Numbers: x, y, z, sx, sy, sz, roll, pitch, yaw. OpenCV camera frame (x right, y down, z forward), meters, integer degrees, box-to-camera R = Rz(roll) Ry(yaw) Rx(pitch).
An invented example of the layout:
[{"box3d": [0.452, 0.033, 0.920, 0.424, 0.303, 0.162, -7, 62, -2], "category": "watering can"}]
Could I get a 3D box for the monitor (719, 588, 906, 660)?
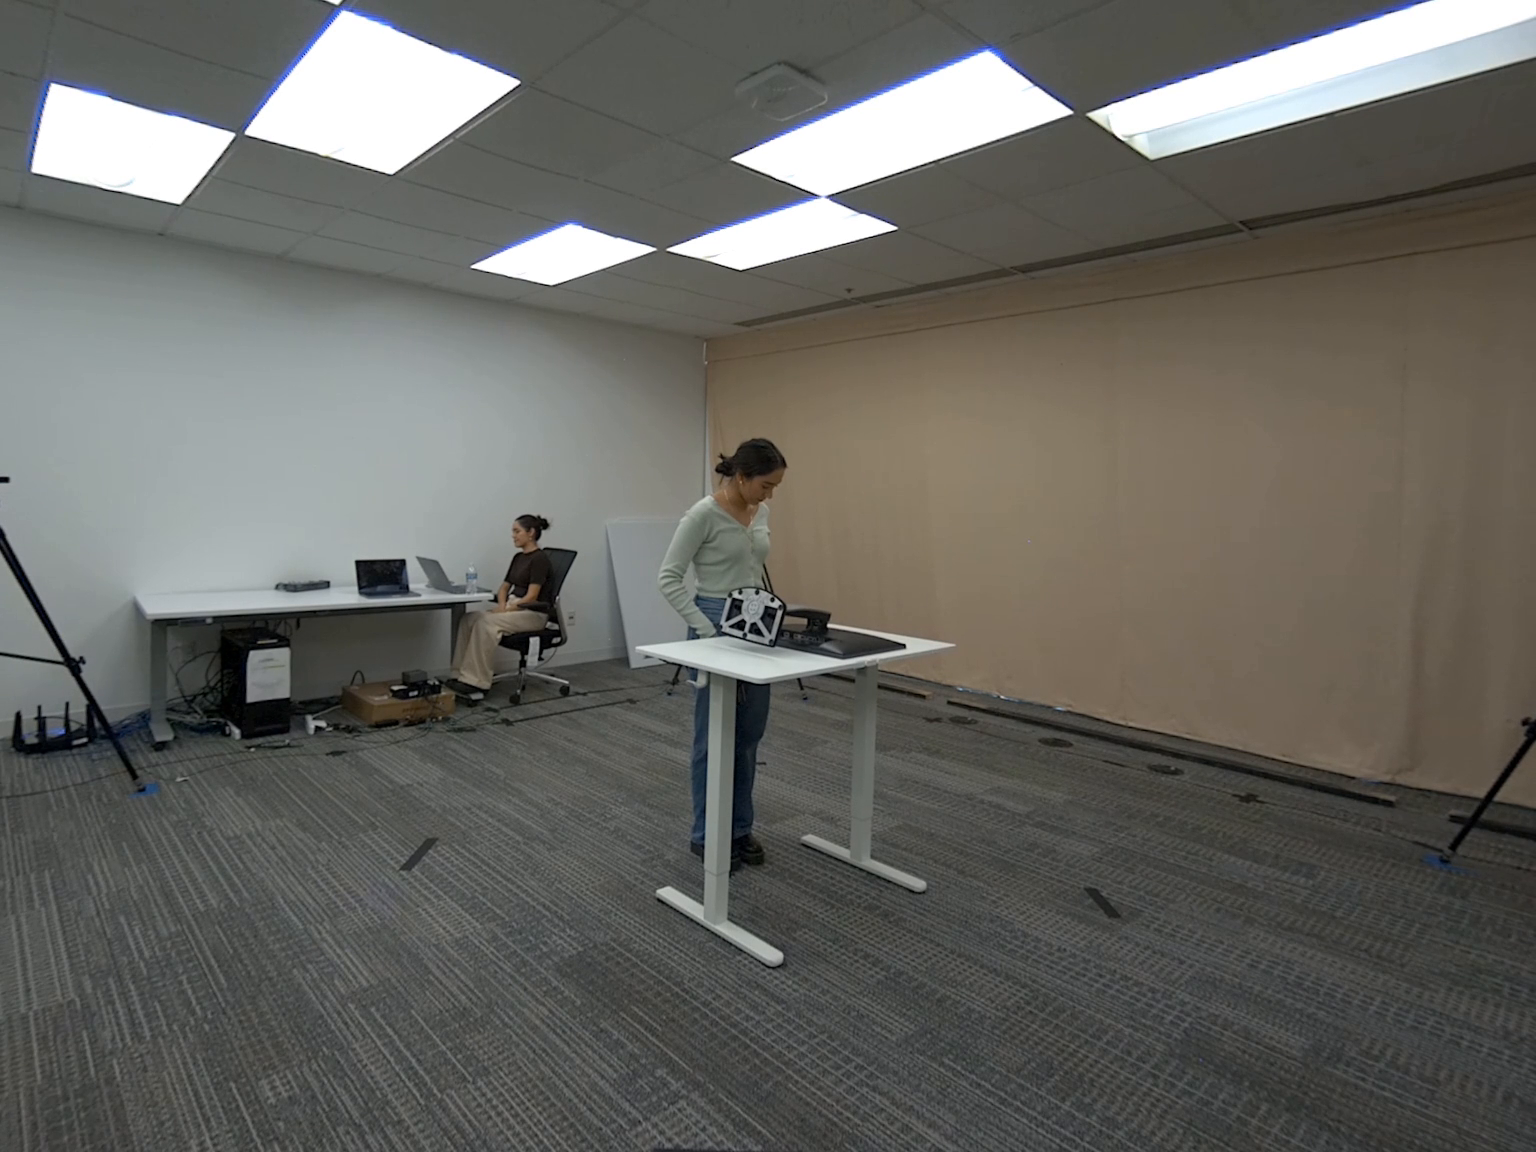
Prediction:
[{"box3d": [0.107, 0.182, 2.945, 0.554, 0.187, 0.507, 11, -4, 46], "category": "monitor"}]
